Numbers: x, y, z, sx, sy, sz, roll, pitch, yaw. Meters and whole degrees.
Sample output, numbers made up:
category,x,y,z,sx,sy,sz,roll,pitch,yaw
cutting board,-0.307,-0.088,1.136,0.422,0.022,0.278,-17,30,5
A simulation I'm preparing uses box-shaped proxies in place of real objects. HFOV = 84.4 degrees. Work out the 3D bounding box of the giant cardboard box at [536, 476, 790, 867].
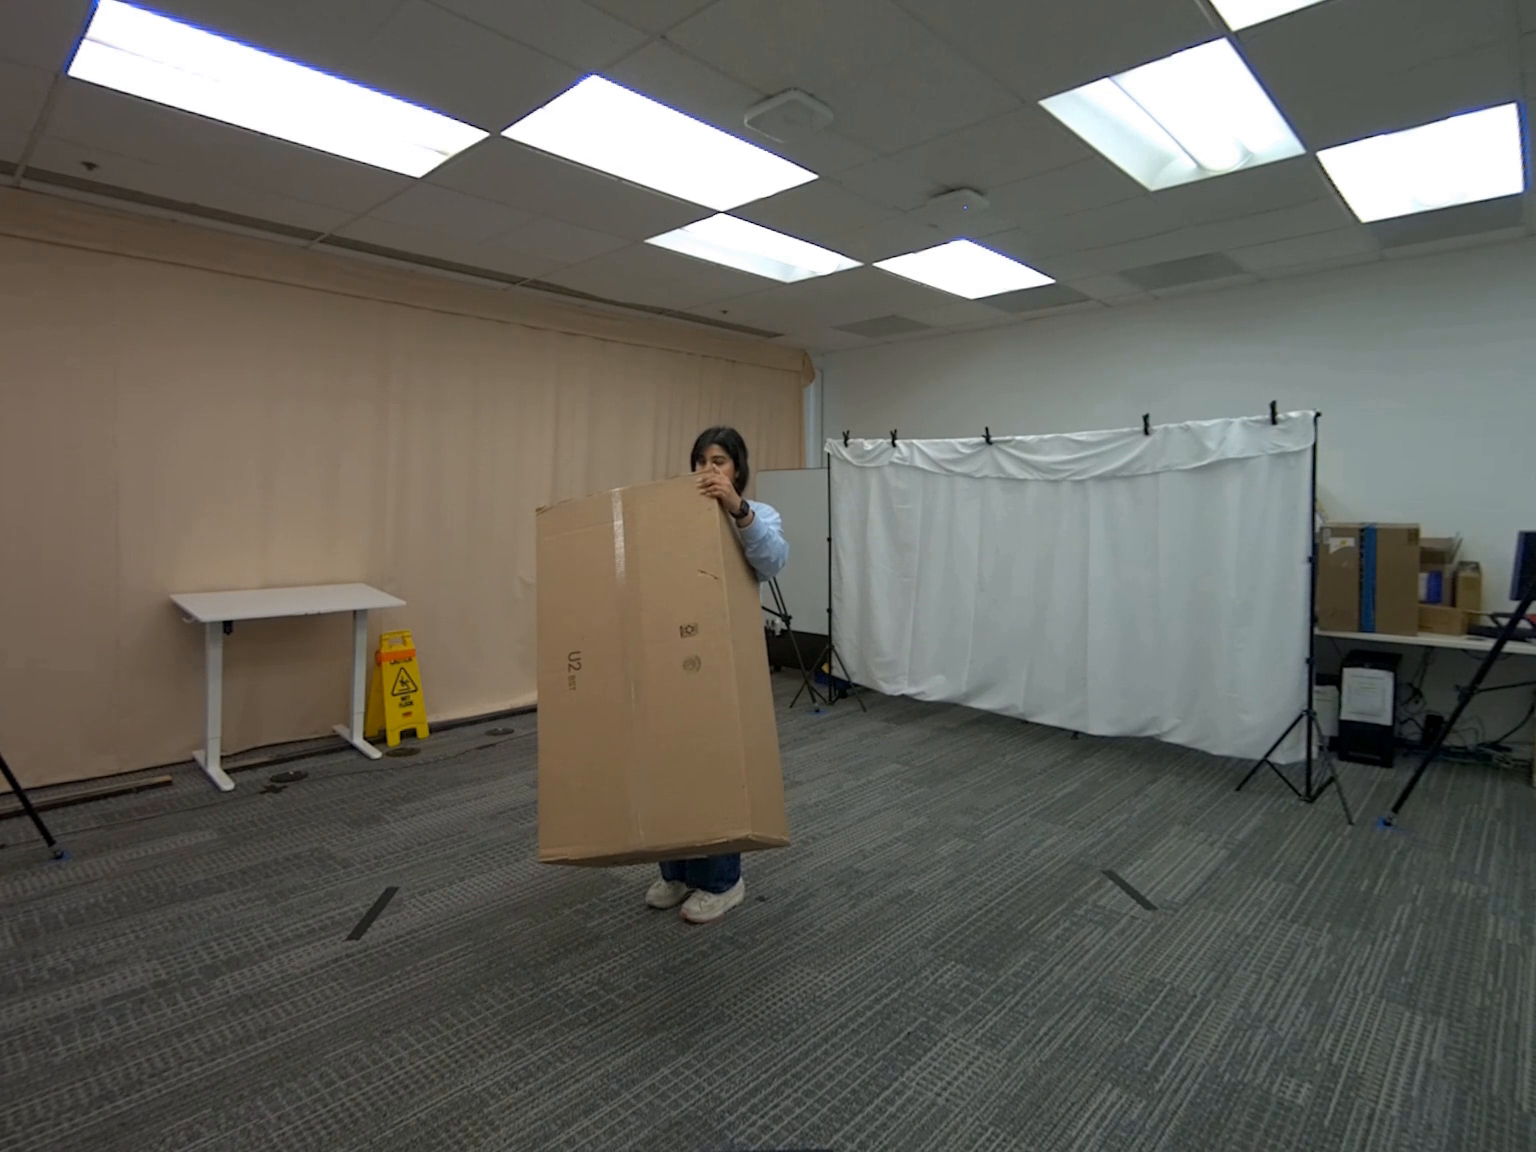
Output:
category,x,y,z,sx,sy,sz,roll,pitch,yaw
giant cardboard box,-0.315,0.282,2.471,0.591,1.044,0.434,-13,-24,13
